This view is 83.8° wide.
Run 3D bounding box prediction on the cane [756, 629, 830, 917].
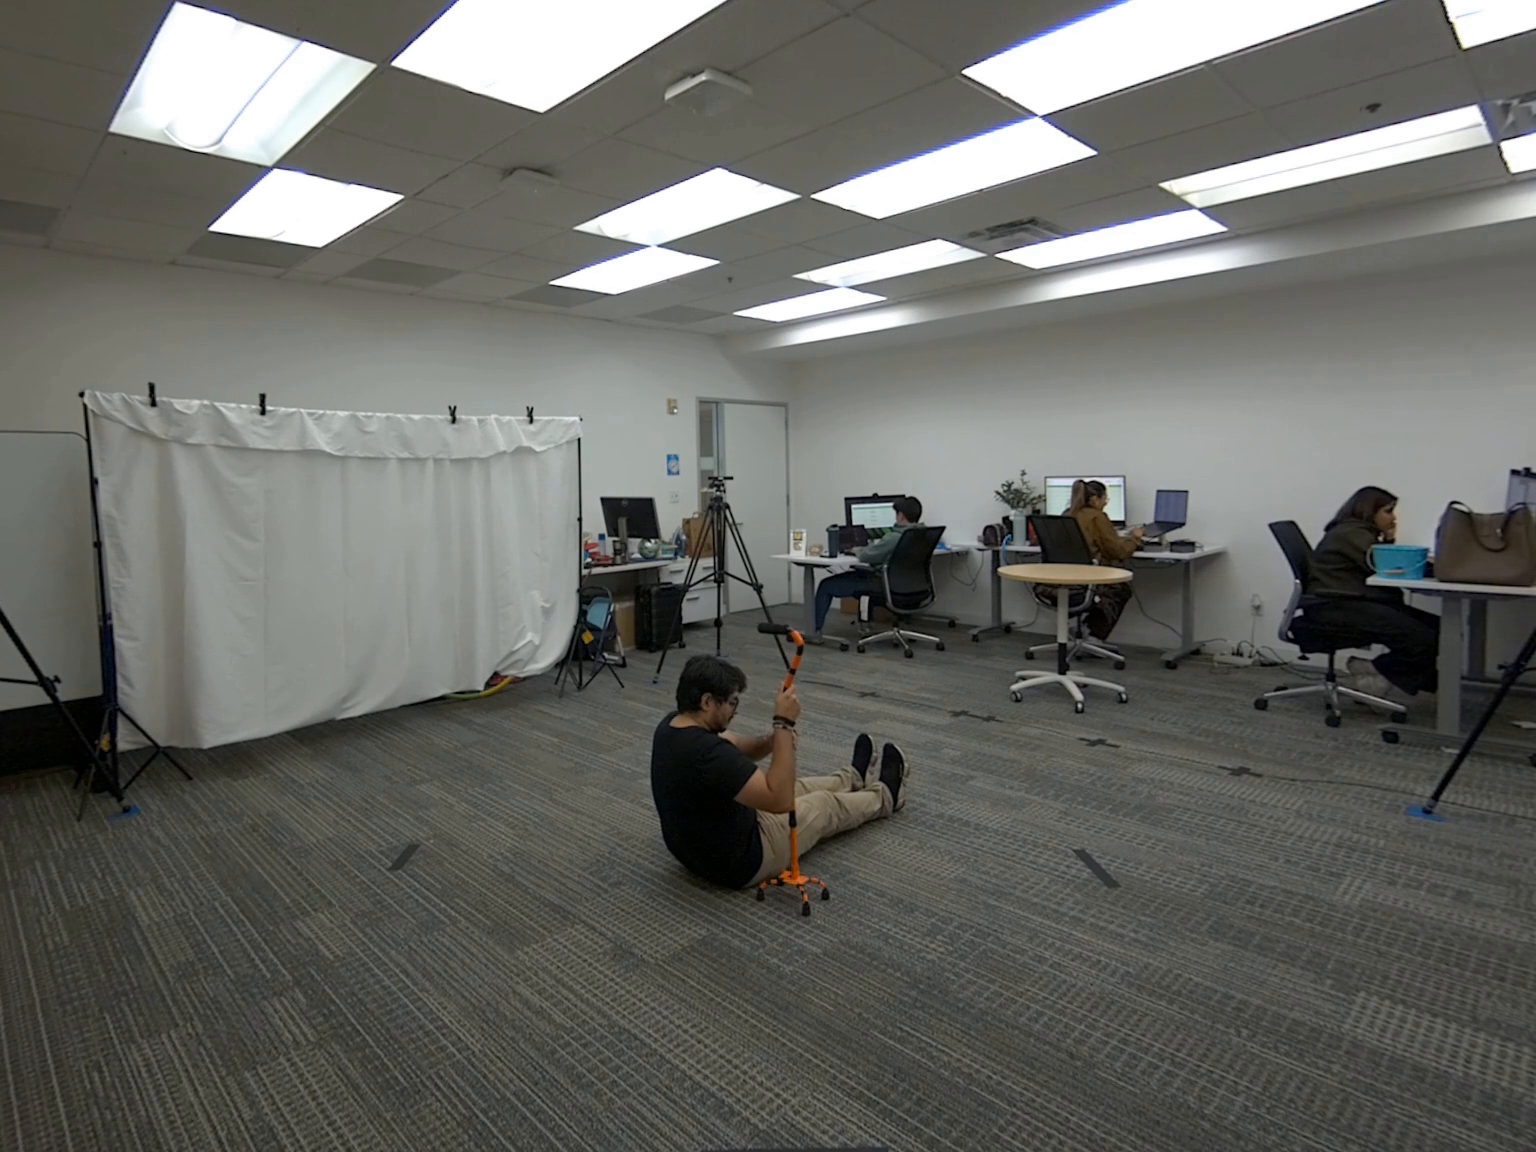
[{"bbox_3d":[0.067,0.612,2.797,0.212,0.904,0.148,0,5,36],"label":"cane"}]
